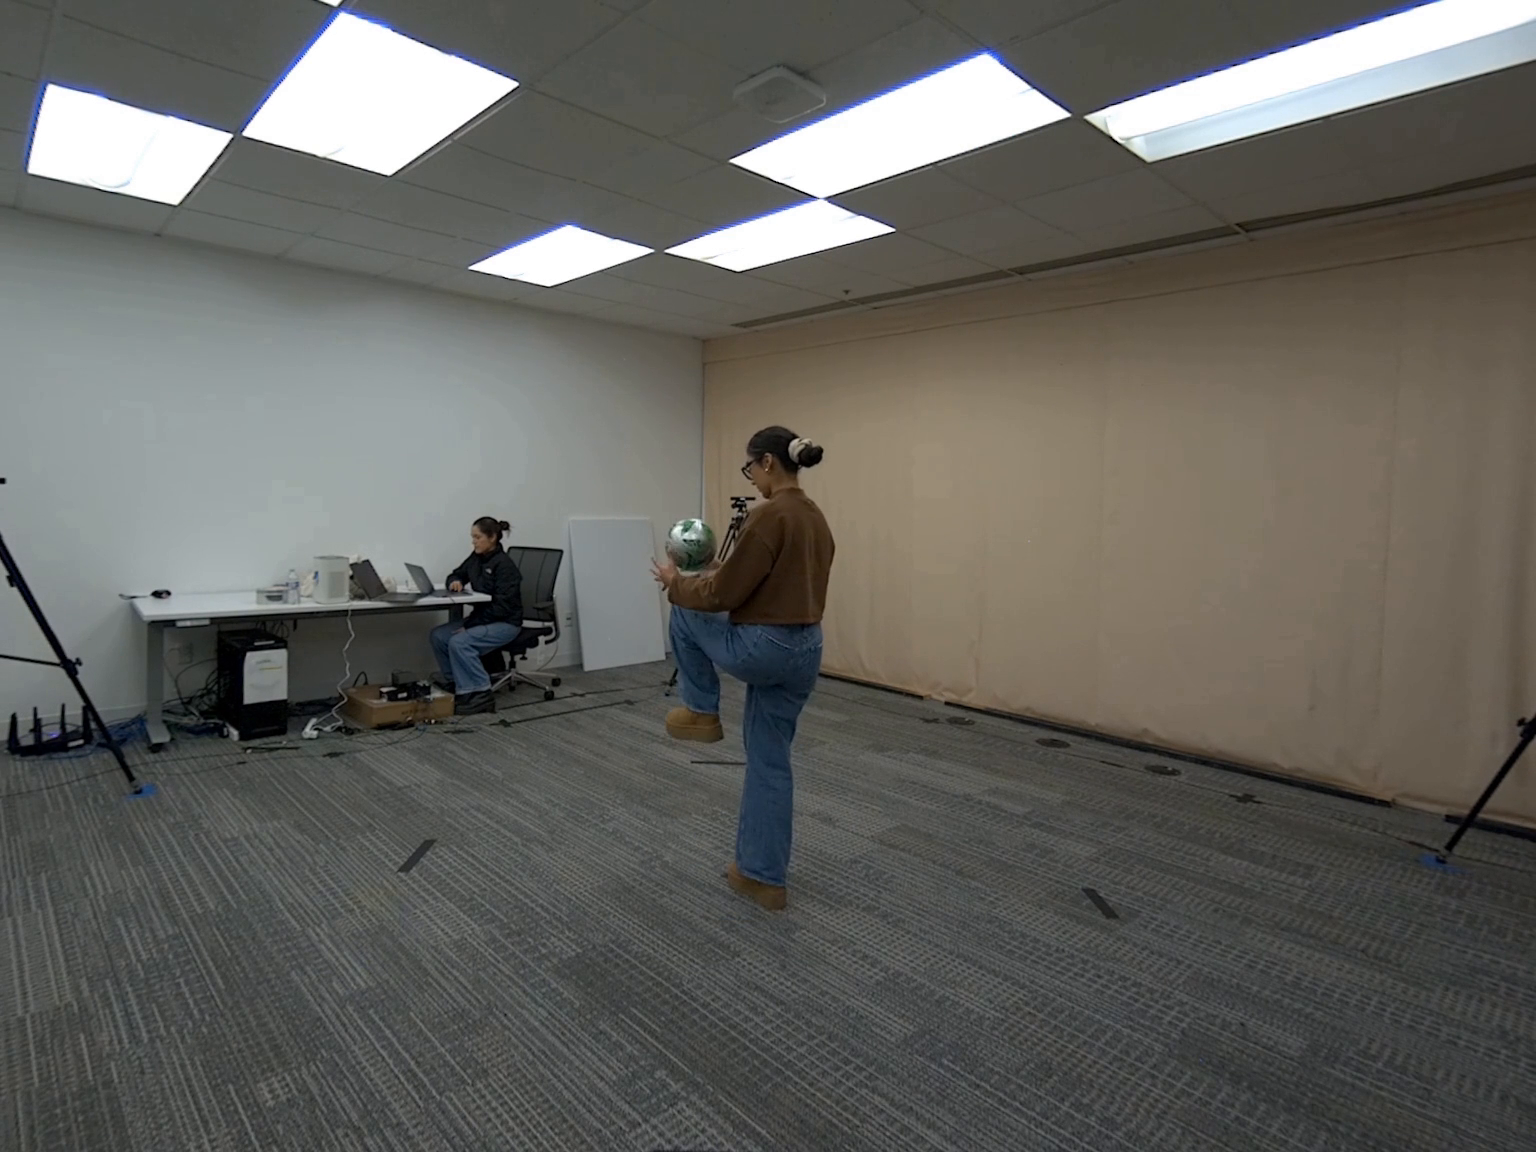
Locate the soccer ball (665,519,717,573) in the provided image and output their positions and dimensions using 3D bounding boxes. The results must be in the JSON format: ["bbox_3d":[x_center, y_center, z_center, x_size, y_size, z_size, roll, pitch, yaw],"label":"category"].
[{"bbox_3d":[-0.275,-0.084,2.995,0.187,0.187,0.188,1,4,-1],"label":"soccer ball"}]
